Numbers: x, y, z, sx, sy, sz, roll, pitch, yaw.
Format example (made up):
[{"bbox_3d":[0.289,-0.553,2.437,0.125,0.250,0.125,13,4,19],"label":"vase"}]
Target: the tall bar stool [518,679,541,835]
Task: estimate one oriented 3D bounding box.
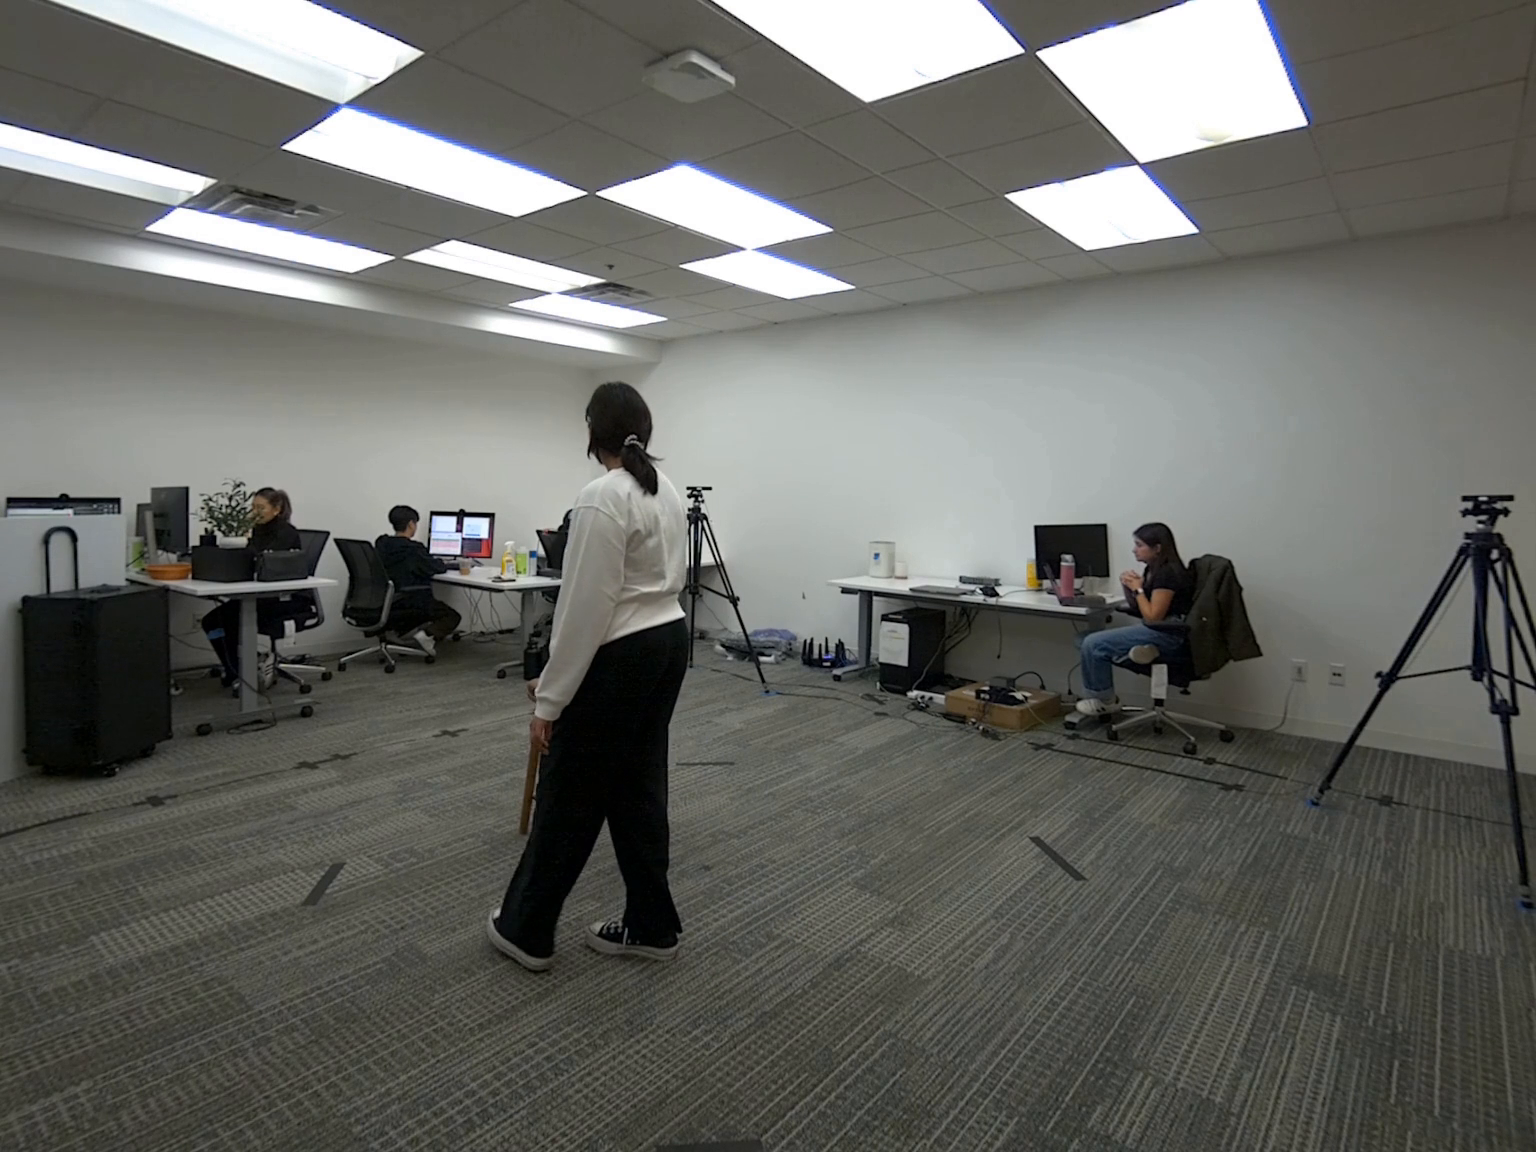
[{"bbox_3d":[-0.682,0.596,3.373,0.453,0.888,0.472,1,3,-42],"label":"tall bar stool"}]
